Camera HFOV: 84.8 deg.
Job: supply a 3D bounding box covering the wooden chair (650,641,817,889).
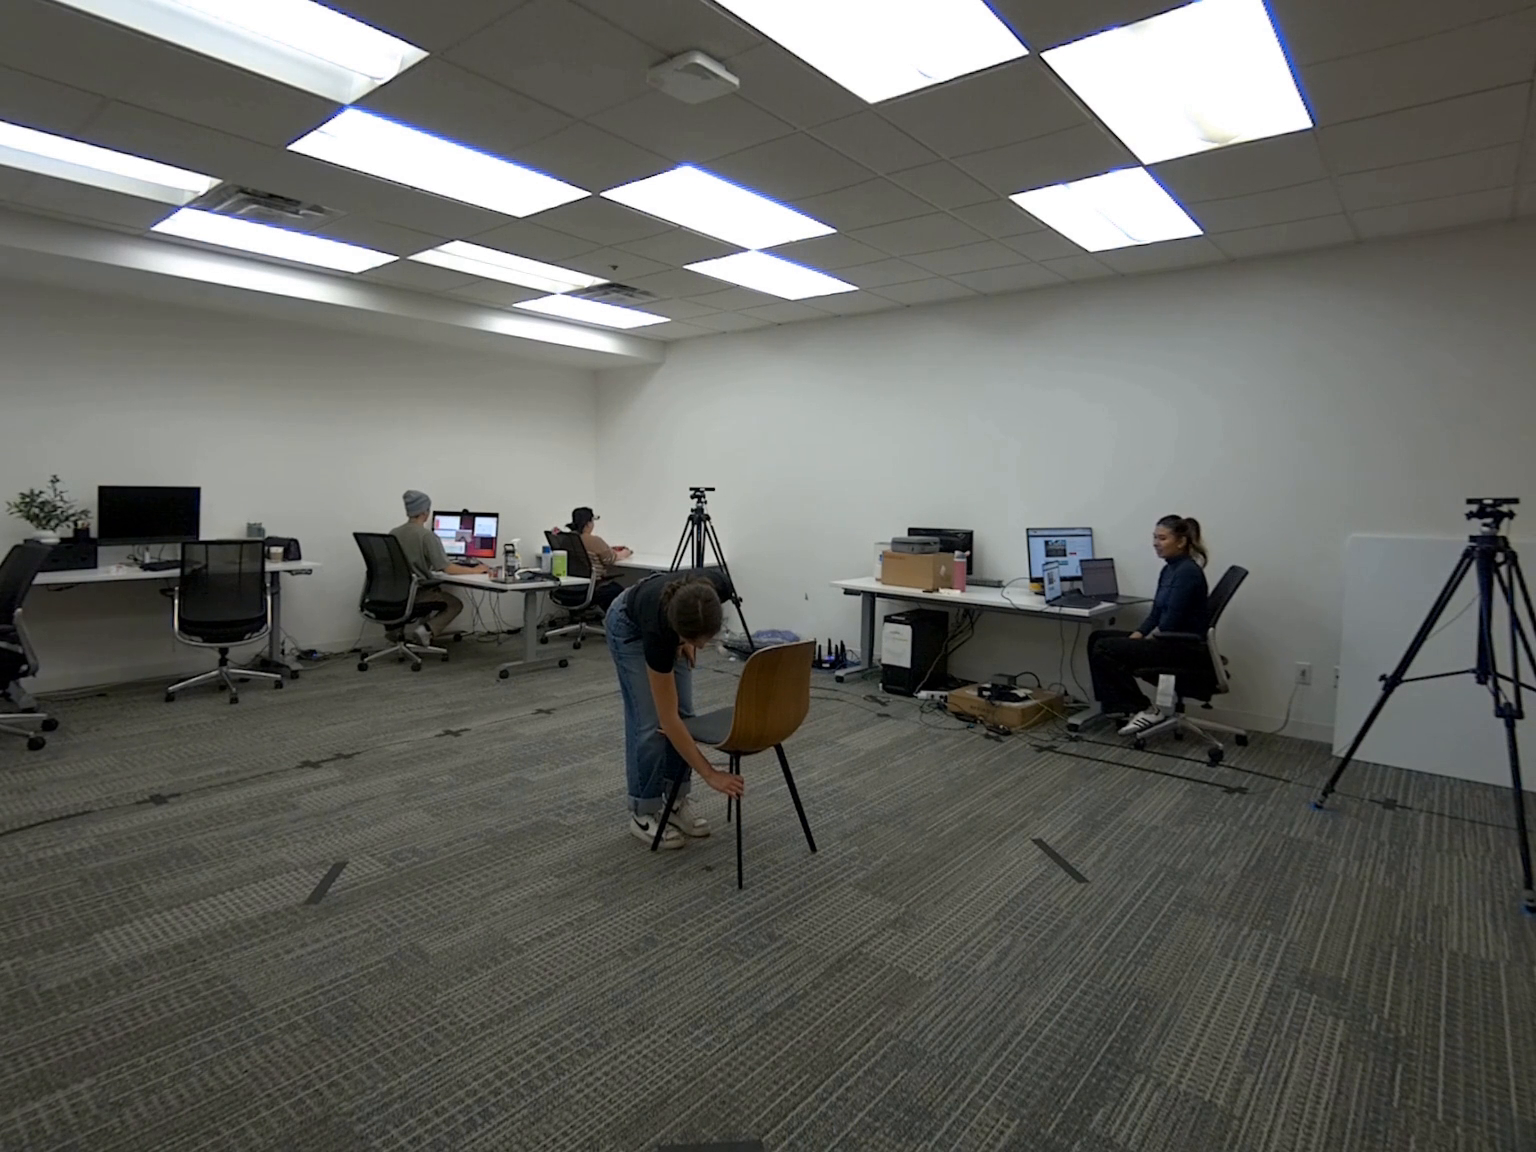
[{"bbox_3d":[-0.131,0.630,3.238,0.542,0.873,0.464,9,8,40],"label":"wooden chair"}]
